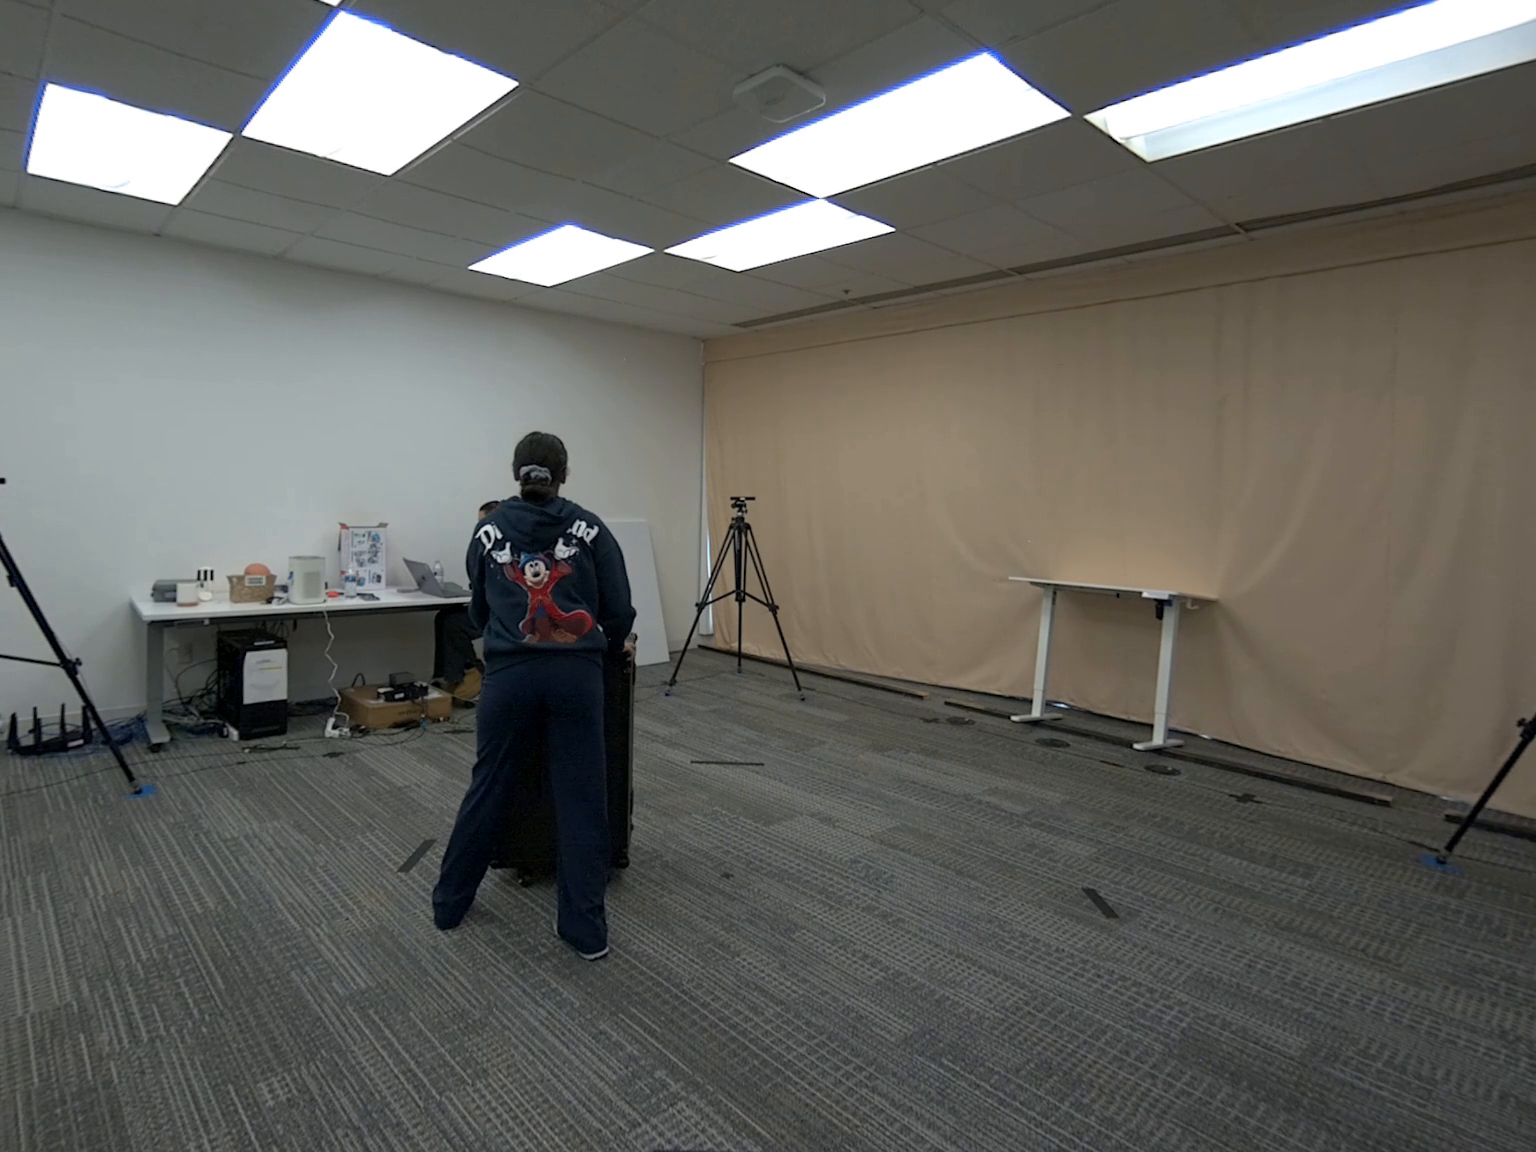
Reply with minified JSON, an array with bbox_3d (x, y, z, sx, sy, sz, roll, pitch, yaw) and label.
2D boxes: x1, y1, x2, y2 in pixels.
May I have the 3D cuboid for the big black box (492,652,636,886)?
[{"bbox_3d":[-0.746,0.666,3.112,0.519,0.859,0.399,1,4,-6],"label":"big black box"}]
